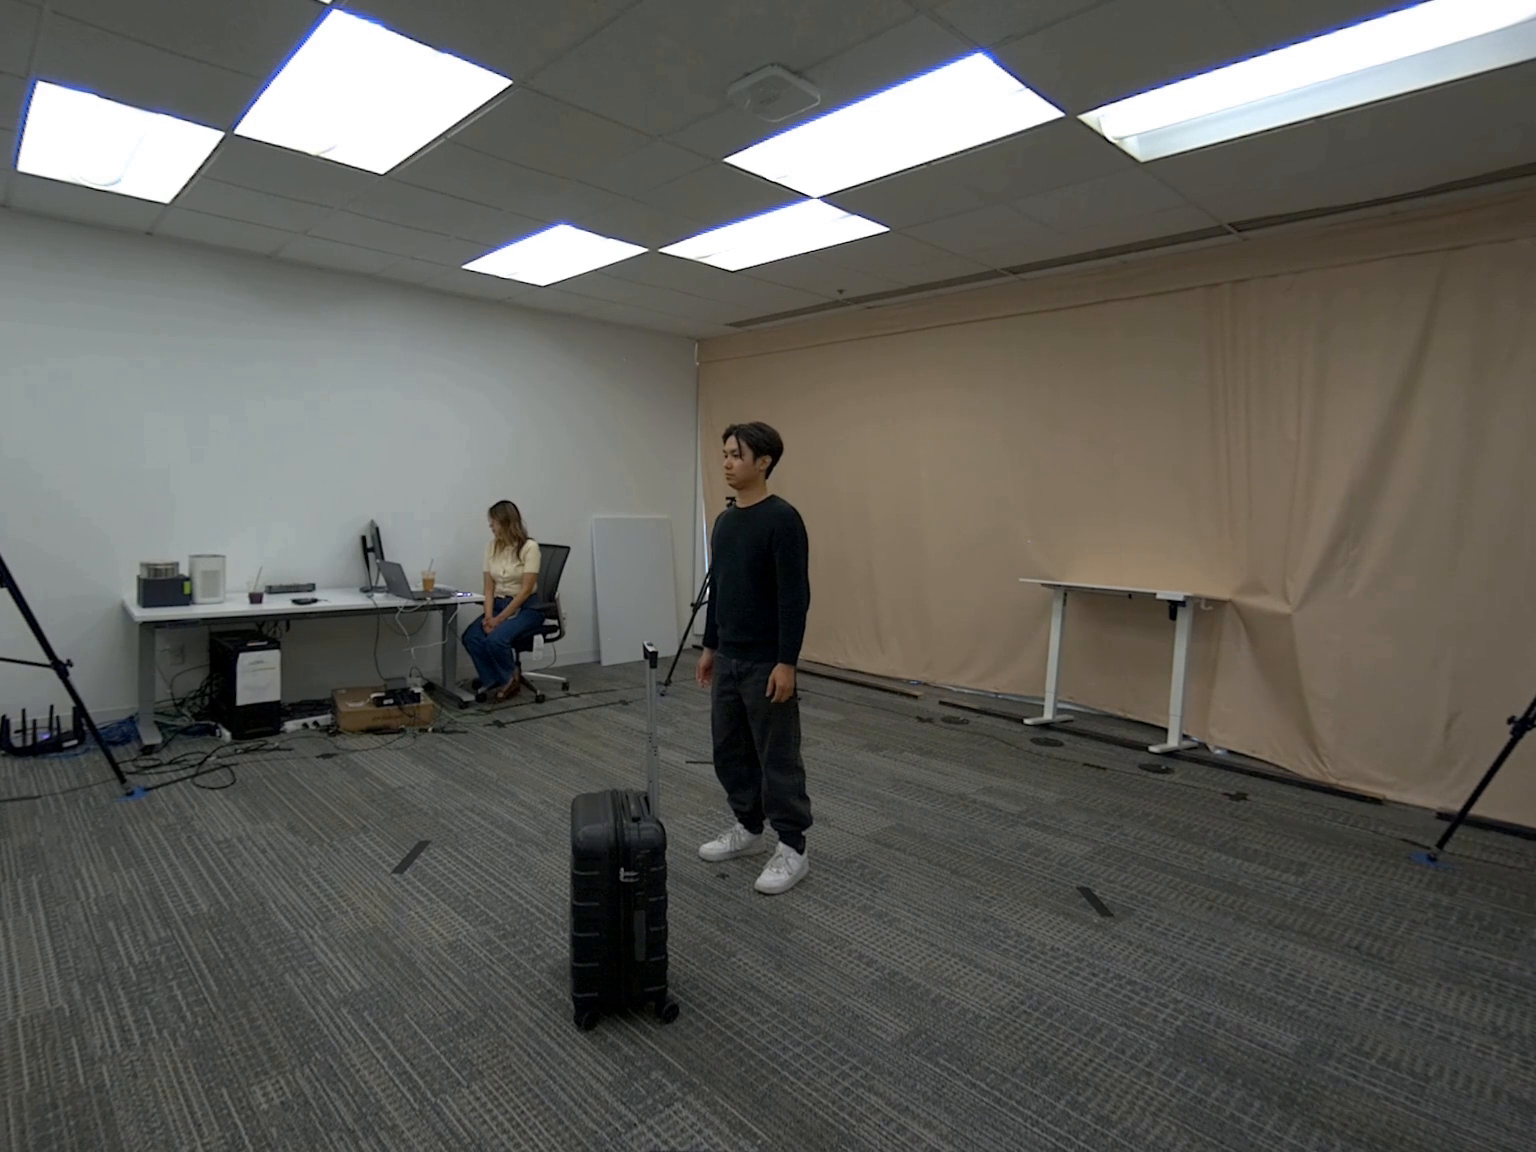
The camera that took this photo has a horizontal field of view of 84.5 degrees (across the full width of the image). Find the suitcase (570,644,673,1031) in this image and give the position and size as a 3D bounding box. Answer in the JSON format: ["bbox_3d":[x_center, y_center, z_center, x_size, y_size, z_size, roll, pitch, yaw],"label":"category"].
[{"bbox_3d":[-0.435,0.703,2.311,0.255,0.975,0.388,-1,4,-12],"label":"suitcase"}]
